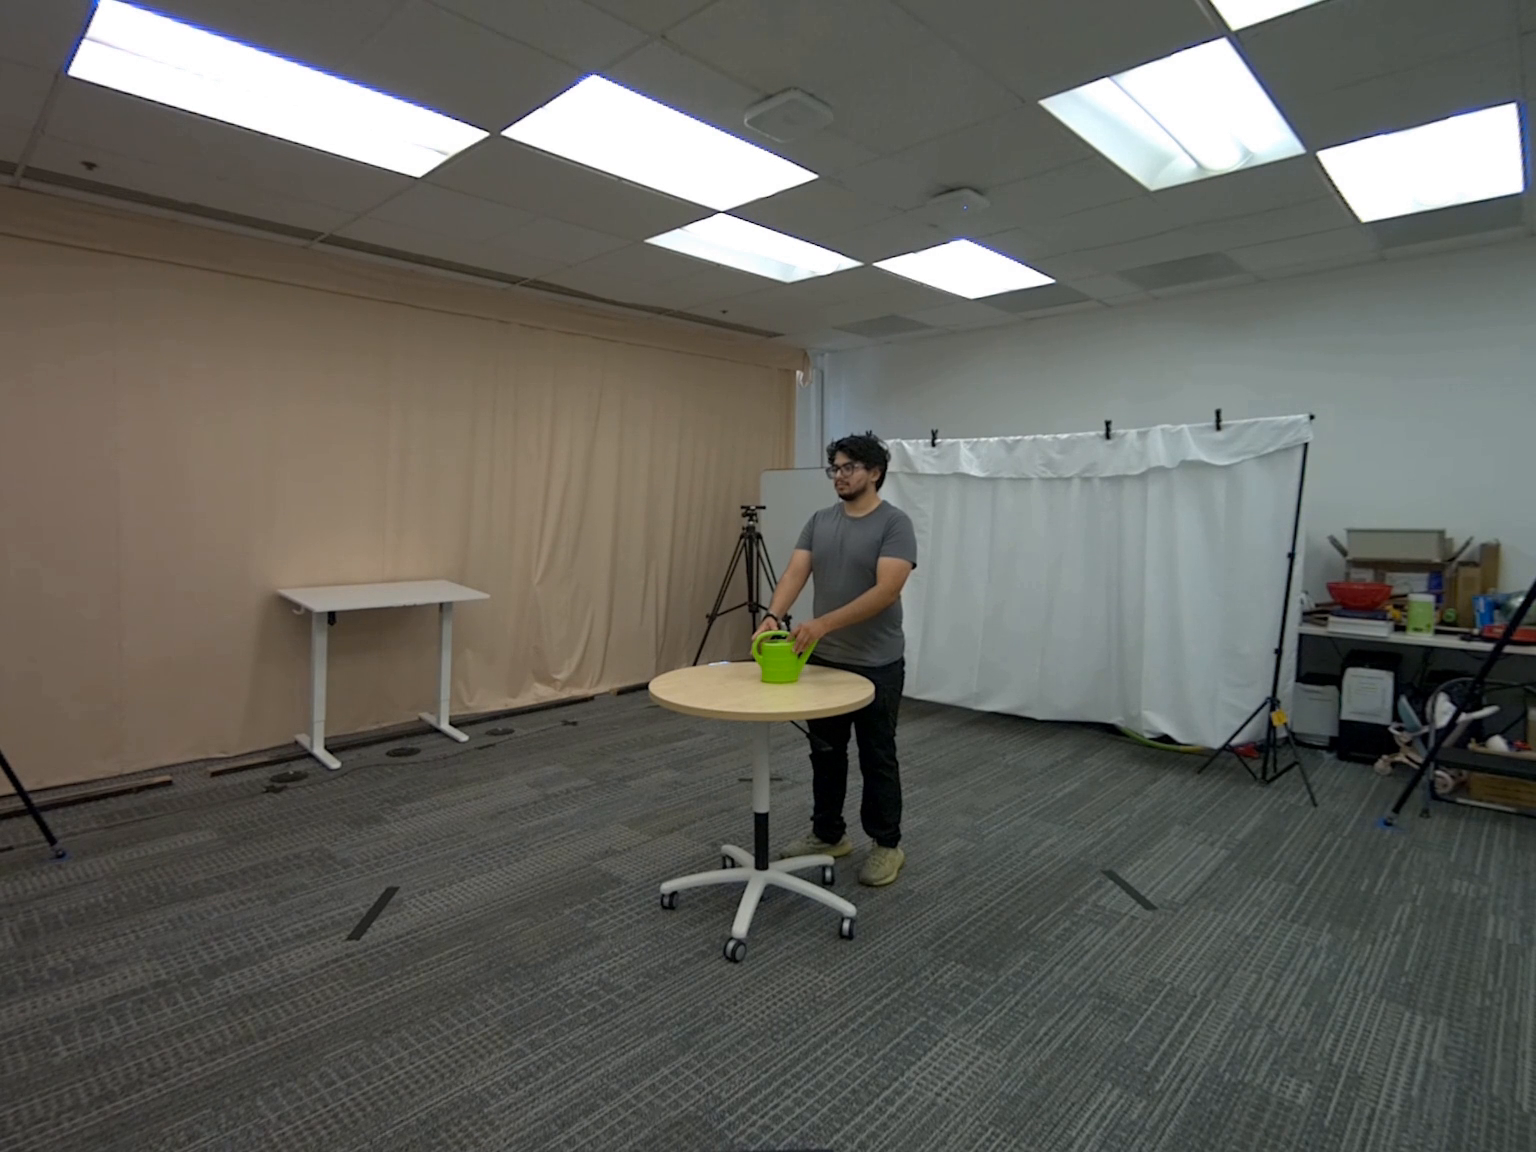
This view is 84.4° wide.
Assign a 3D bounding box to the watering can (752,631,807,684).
[{"bbox_3d":[0.087,0.284,2.917,0.279,0.176,0.098,0,4,2],"label":"watering can"}]
